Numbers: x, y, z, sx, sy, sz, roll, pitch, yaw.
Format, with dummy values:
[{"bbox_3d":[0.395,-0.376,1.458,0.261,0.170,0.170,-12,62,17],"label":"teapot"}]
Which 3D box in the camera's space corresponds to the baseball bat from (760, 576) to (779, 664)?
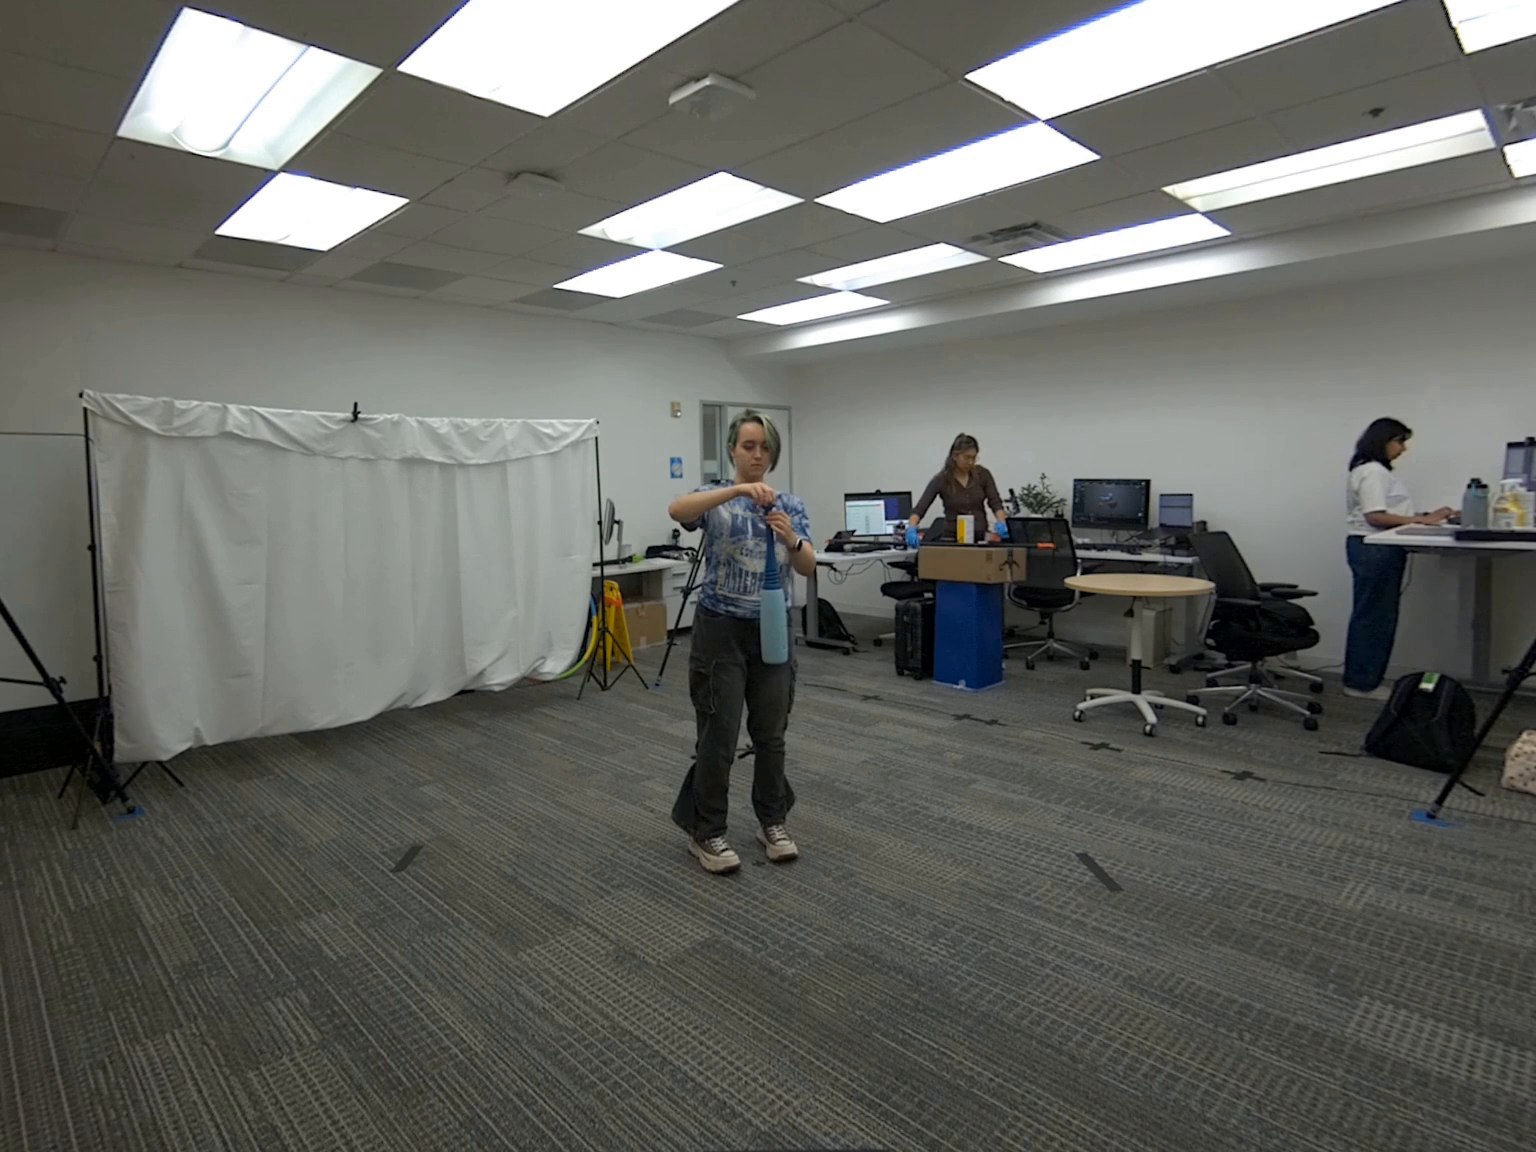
[{"bbox_3d":[-0.015,0.026,2.831,0.089,0.541,0.089,0,5,-2],"label":"baseball bat"}]
